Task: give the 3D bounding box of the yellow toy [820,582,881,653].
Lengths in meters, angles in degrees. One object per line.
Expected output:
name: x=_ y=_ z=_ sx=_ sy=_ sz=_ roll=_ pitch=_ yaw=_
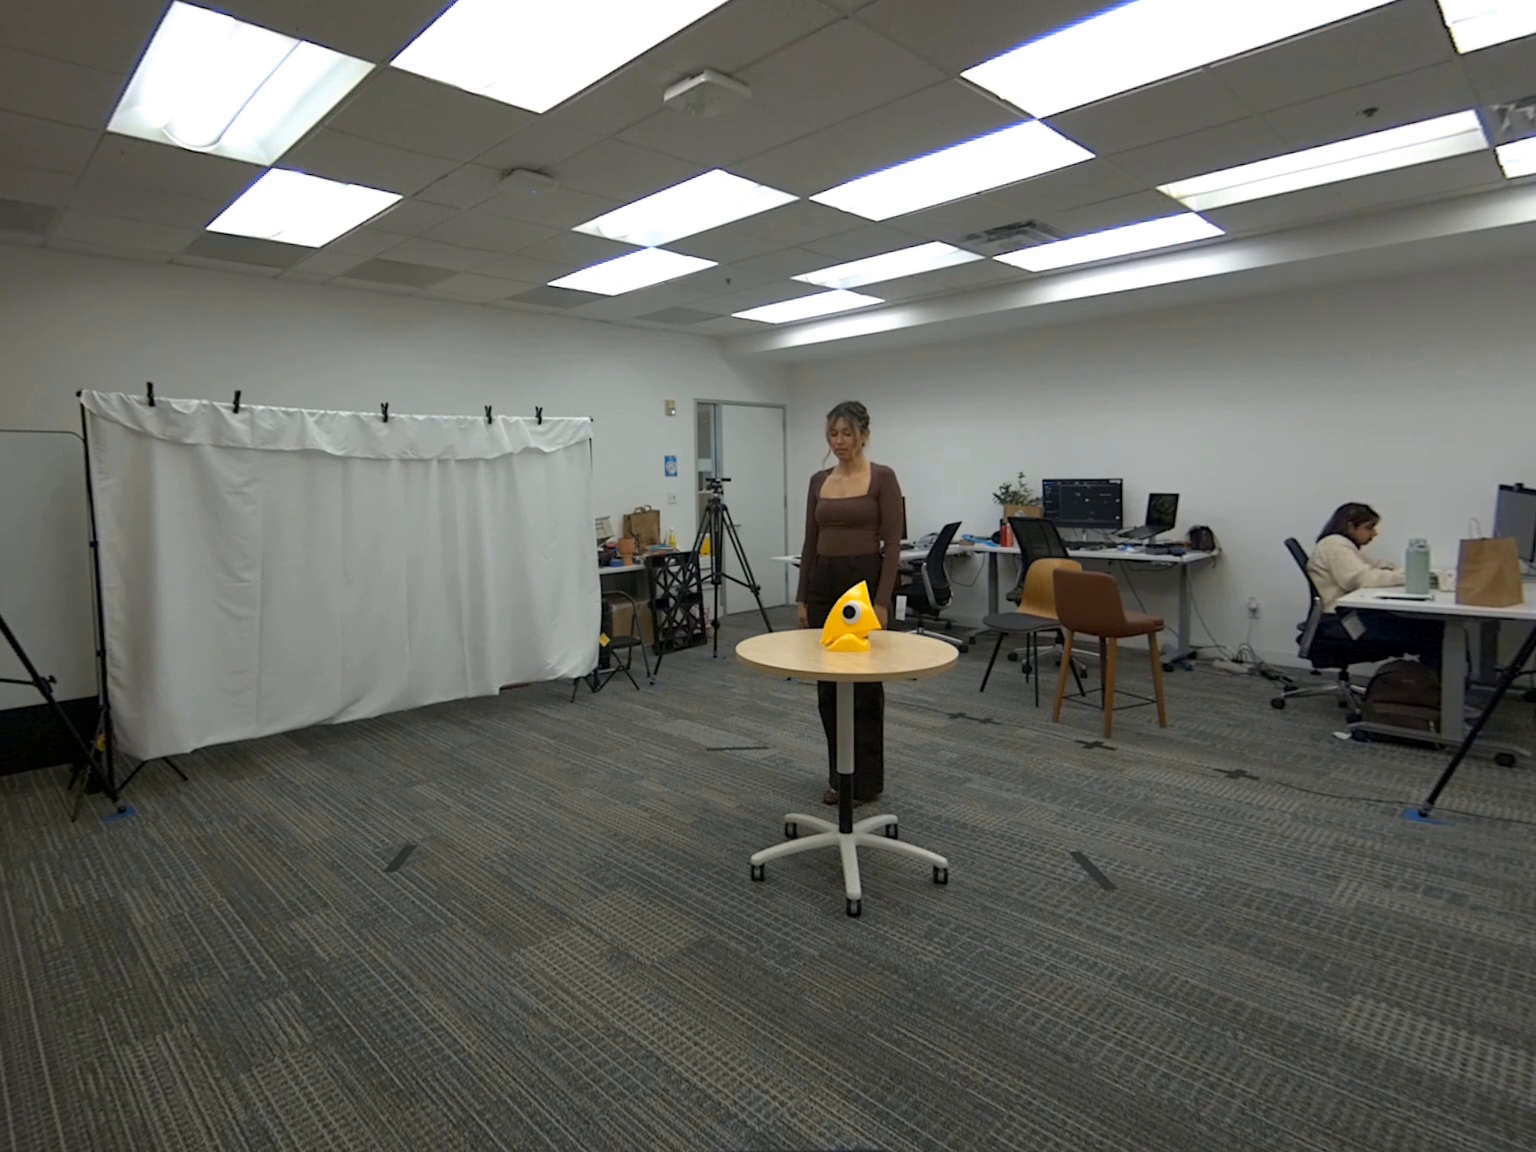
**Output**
yellow toy: x=0.284 y=0.135 z=3.014 sx=0.192 sy=0.229 sz=0.207 roll=-2 pitch=7 yaw=-7
